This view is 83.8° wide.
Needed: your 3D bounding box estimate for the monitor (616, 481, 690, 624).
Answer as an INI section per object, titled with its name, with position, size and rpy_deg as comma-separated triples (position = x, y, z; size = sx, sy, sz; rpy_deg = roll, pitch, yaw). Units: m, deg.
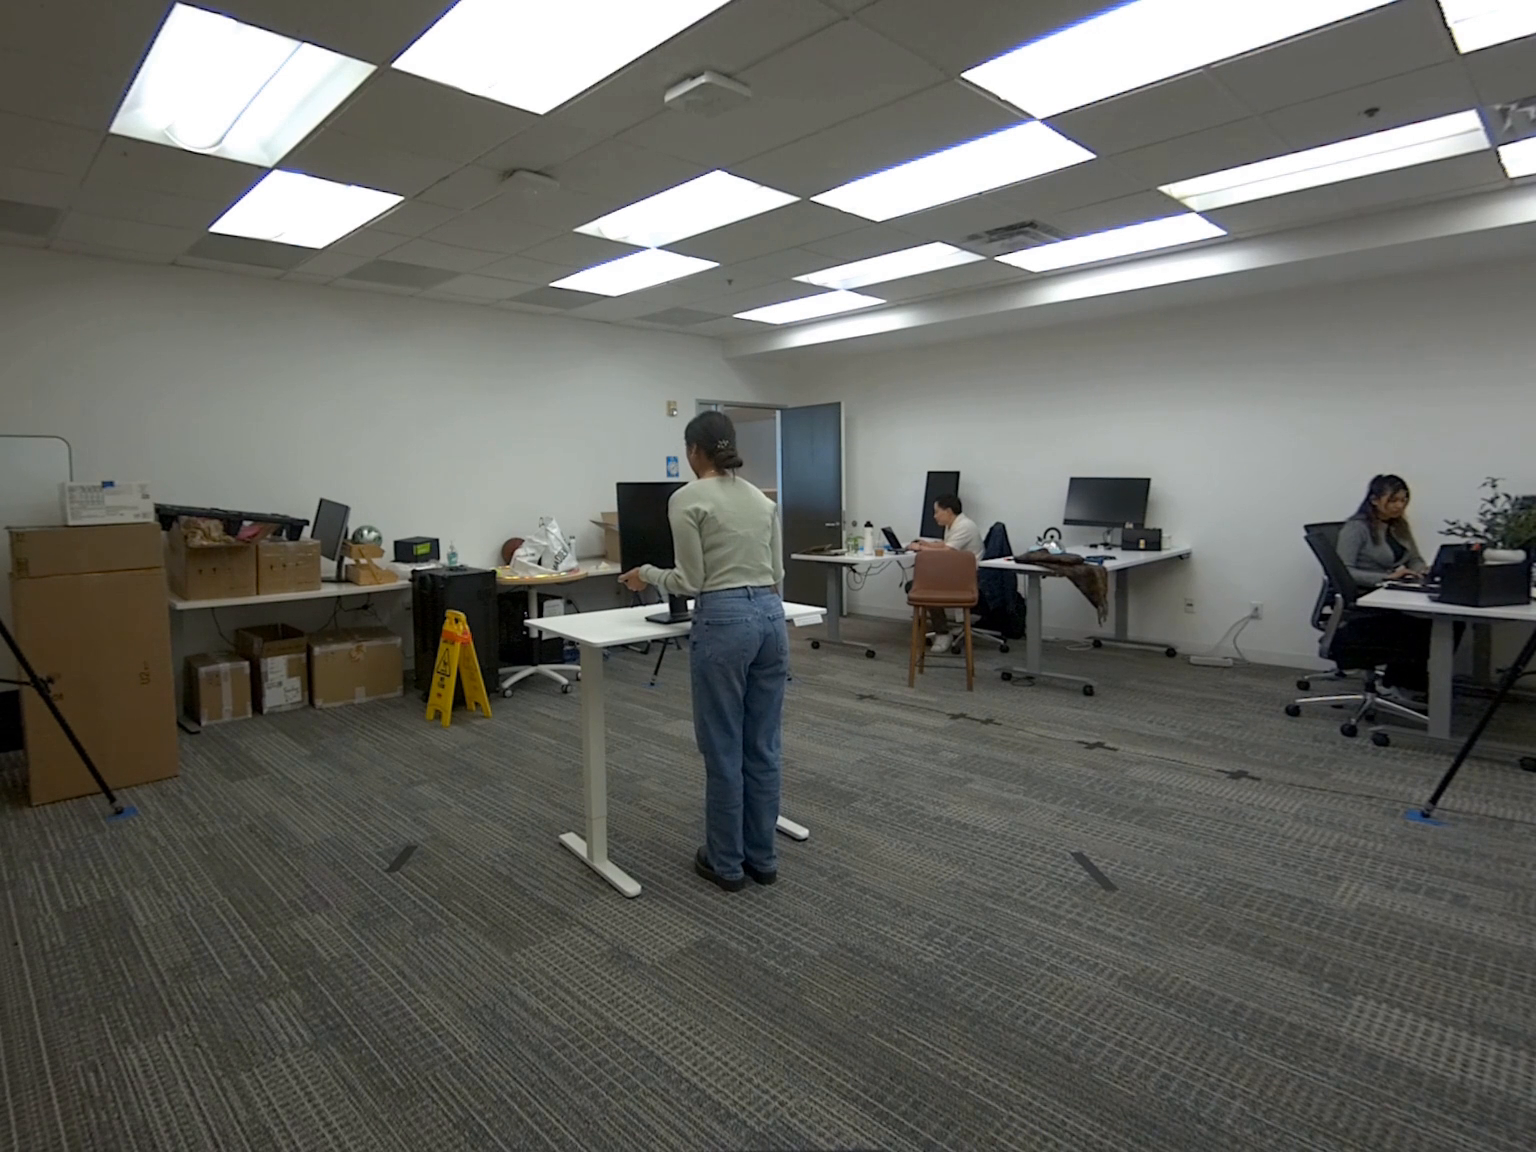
[monitor]
position = -0.319, -0.088, 3.177
size = 0.525, 0.519, 0.193
rpy_deg = -6, 9, -40
